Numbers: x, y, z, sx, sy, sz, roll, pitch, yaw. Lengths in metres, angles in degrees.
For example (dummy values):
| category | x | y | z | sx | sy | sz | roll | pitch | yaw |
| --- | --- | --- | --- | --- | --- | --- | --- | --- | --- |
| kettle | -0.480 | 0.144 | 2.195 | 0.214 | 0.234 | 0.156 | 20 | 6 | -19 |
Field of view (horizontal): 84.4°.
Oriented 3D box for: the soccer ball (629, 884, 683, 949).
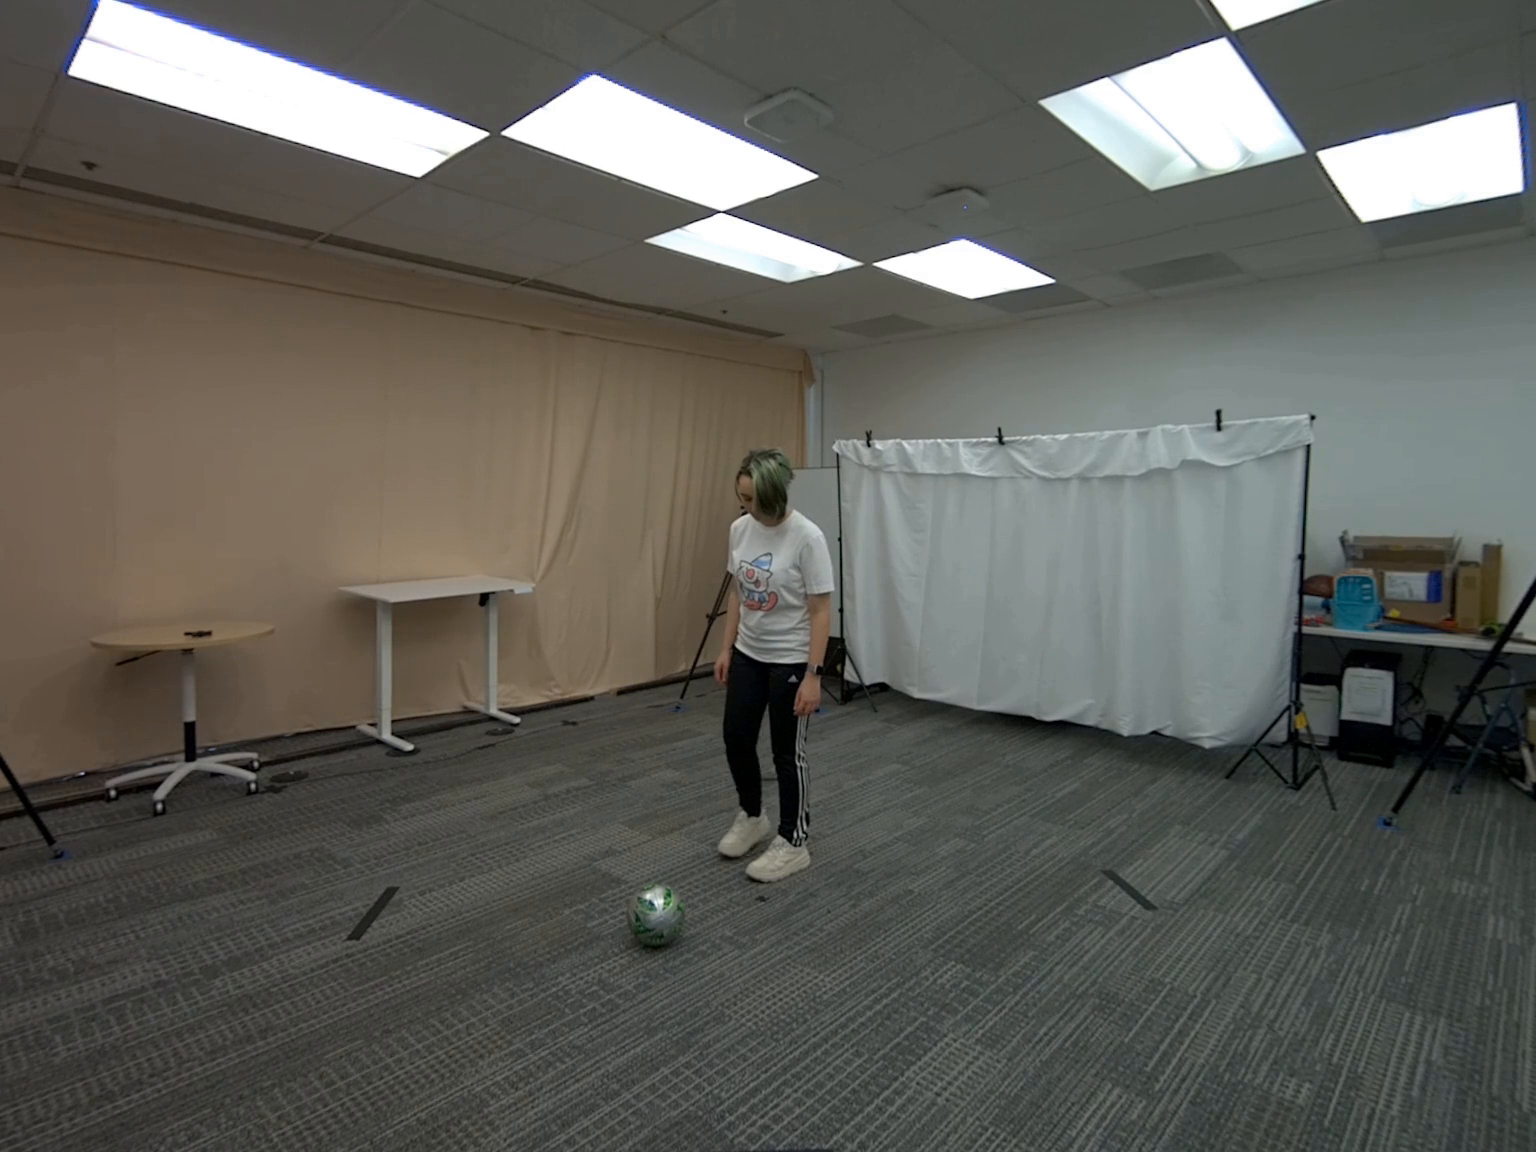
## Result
| category | x | y | z | sx | sy | sz | roll | pitch | yaw |
| --- | --- | --- | --- | --- | --- | --- | --- | --- | --- |
| soccer ball | -0.355 | 1.076 | 2.685 | 0.187 | 0.187 | 0.188 | 0 | 4 | -2 |
